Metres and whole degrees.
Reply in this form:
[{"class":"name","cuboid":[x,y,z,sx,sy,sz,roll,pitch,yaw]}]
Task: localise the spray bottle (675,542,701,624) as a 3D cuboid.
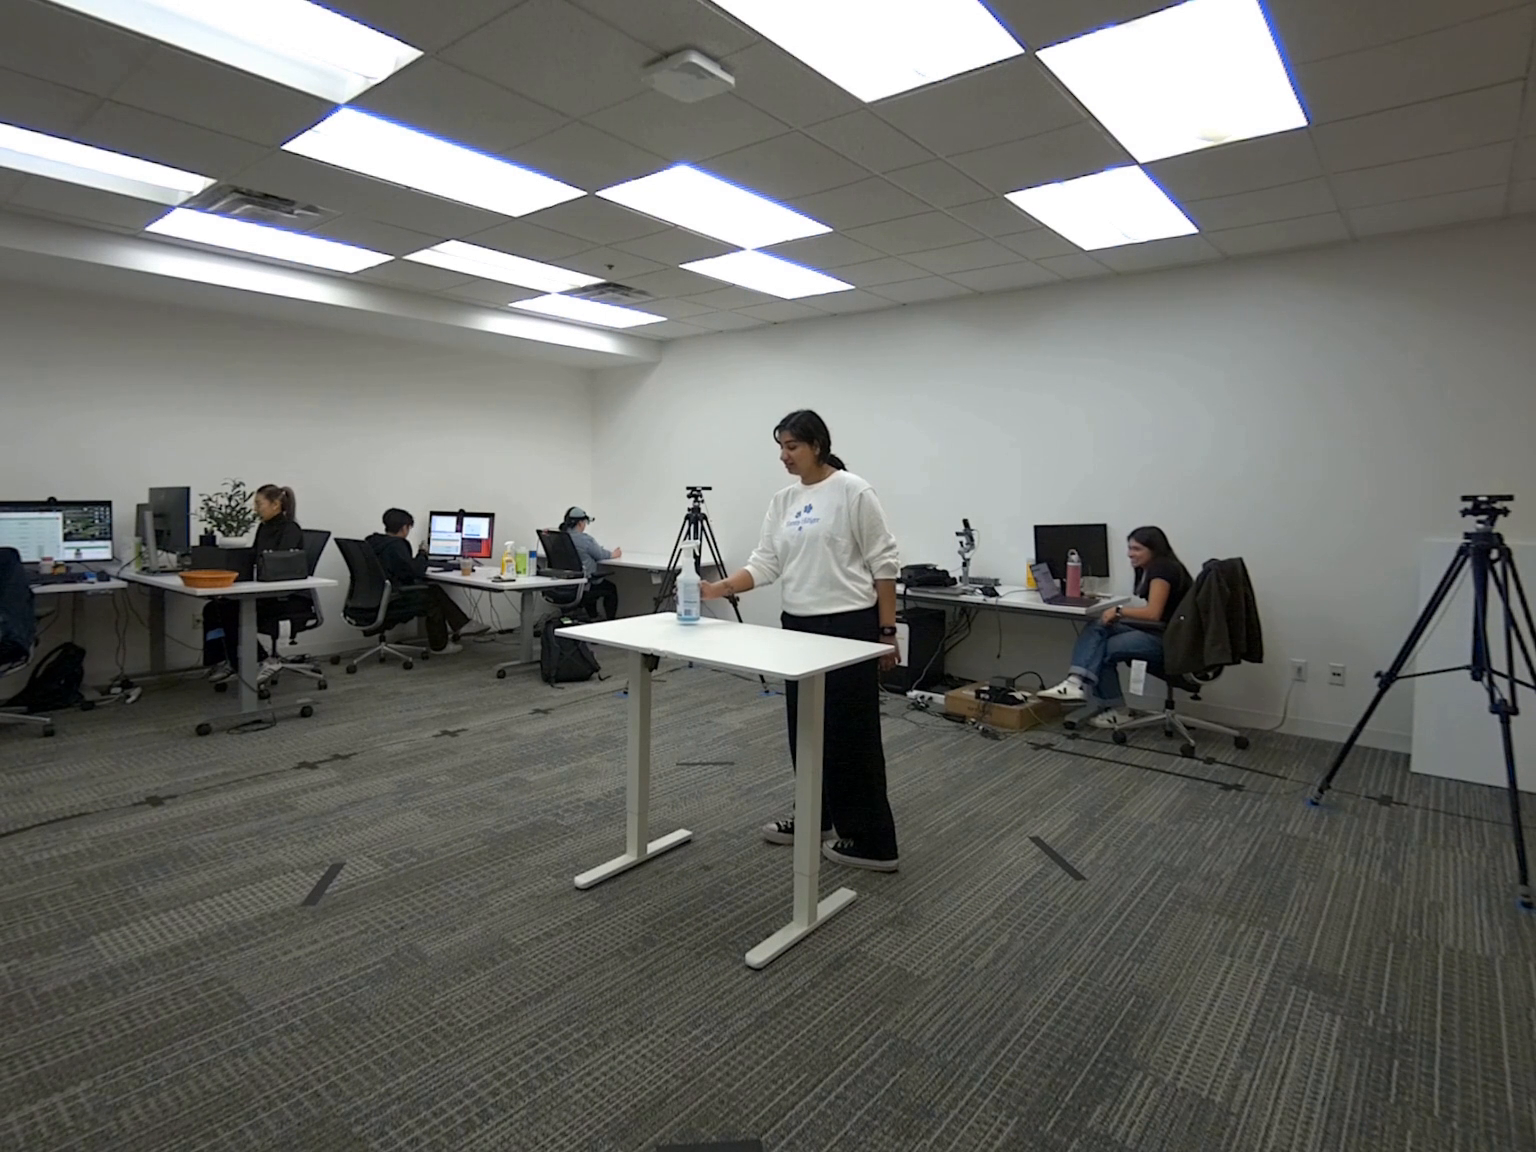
[{"class":"spray bottle","cuboid":[-0.292,0.016,3.128,0.085,0.296,0.093,1,4,-29]}]
